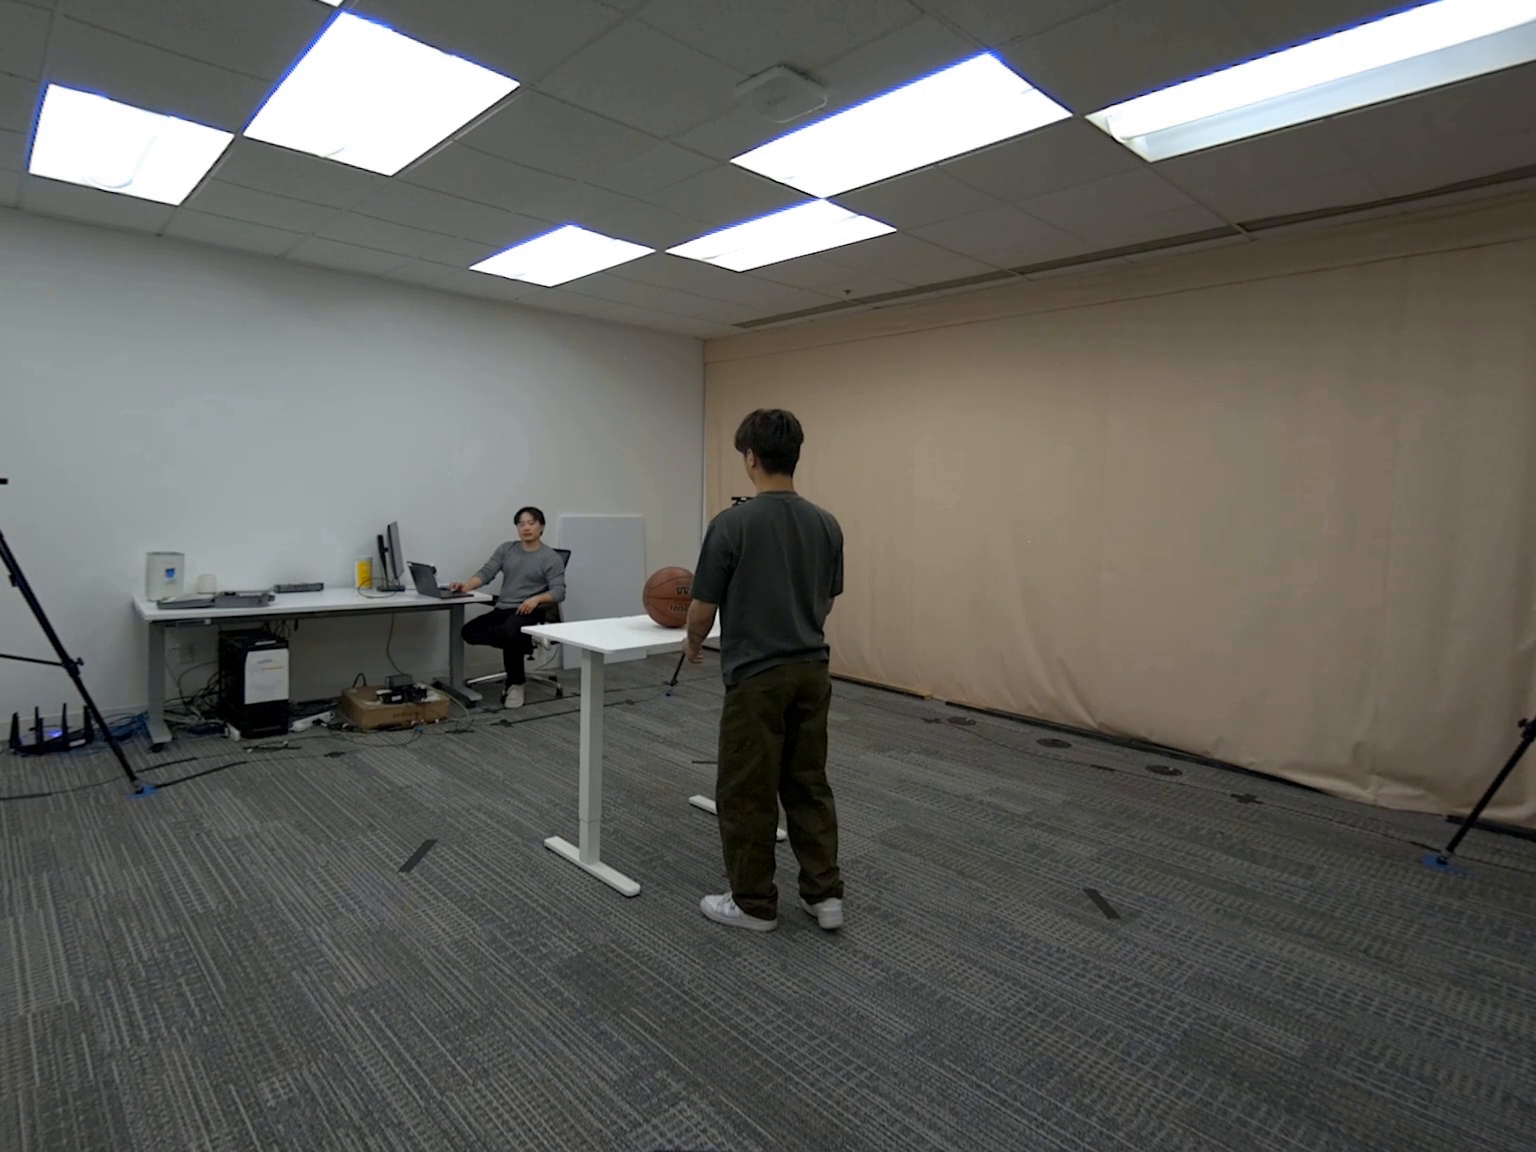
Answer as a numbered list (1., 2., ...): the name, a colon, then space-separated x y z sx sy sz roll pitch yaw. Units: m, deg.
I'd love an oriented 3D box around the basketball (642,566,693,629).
1. basketball: -0.381 0.084 3.309 0.236 0.235 0.237 1 4 -1
